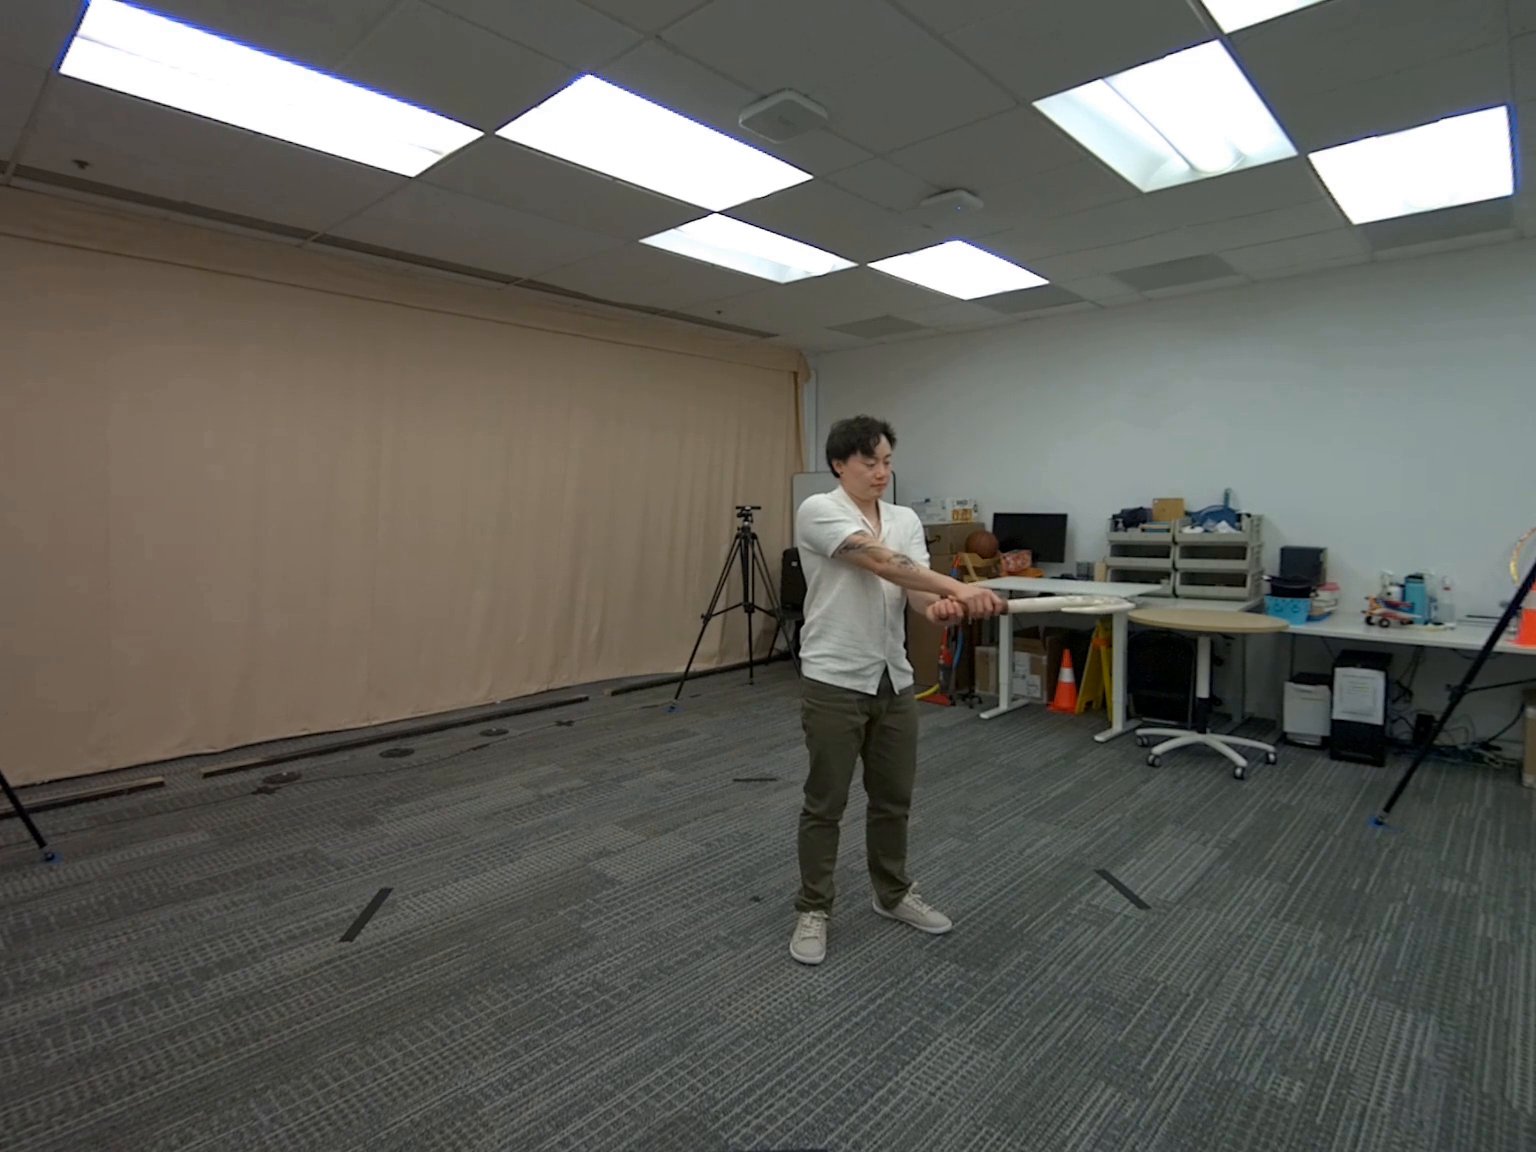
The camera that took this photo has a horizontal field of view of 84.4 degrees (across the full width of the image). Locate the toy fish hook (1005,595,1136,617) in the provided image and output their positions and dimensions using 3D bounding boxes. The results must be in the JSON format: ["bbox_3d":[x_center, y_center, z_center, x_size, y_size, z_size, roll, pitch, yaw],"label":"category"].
[{"bbox_3d":[0.701,0.087,2.281,0.513,0.048,0.221,-2,-2,12],"label":"toy fish hook"}]
